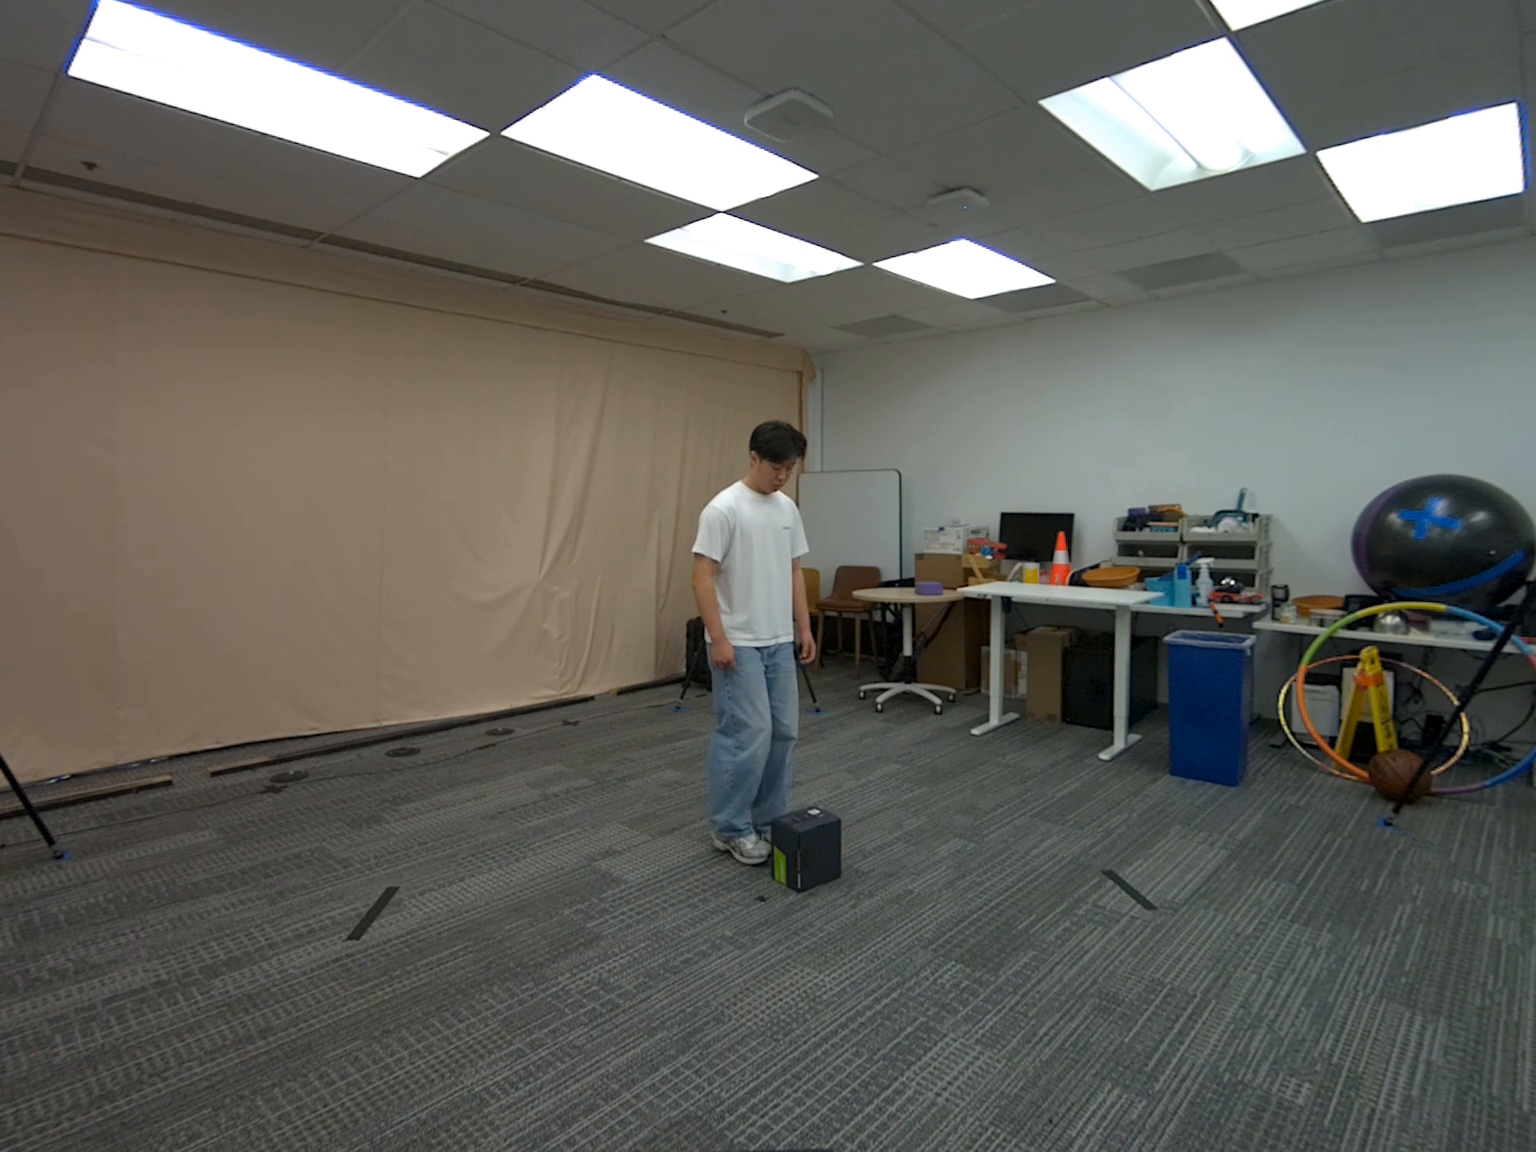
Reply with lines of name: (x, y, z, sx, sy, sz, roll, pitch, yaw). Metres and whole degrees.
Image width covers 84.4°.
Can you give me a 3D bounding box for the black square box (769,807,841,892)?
black square box: (0.146, 1.010, 3.130, 0.210, 0.227, 0.161, -4, 5, -39)
